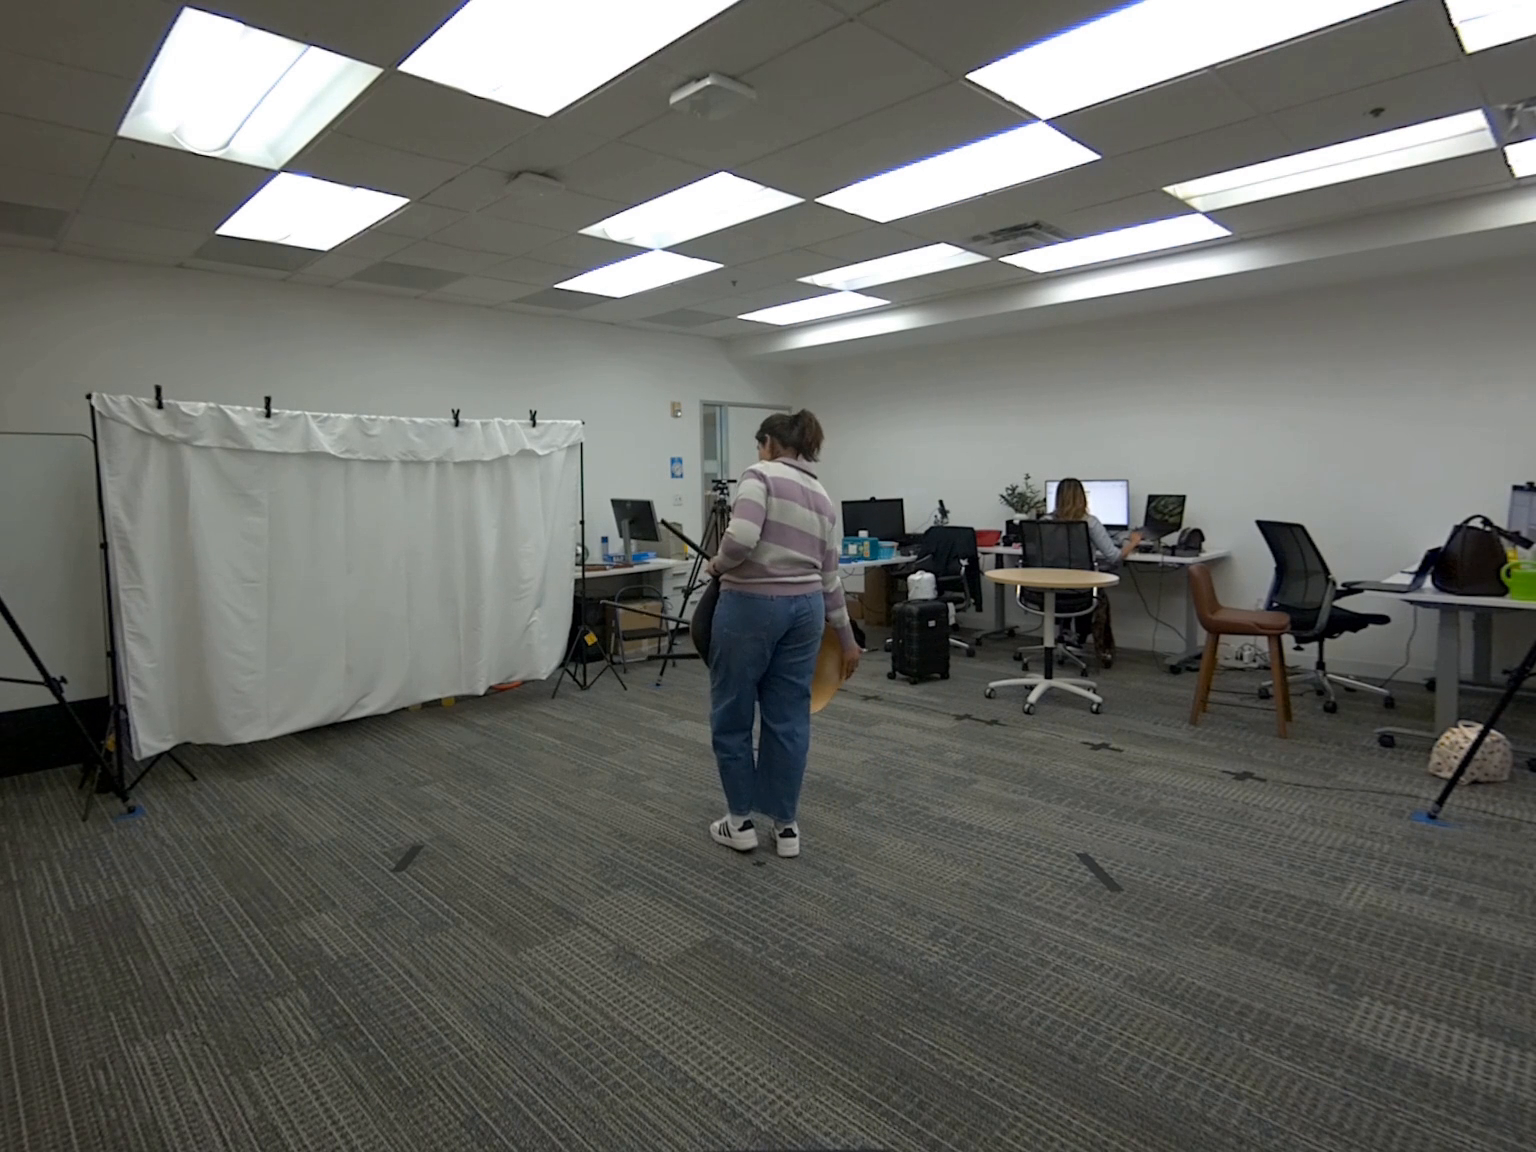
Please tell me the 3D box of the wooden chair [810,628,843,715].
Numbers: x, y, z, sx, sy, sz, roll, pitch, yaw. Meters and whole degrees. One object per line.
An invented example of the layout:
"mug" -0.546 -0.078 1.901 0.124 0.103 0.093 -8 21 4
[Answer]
"wooden chair" -0.141 0.172 3.434 0.906 0.480 0.504 20 -26 30
